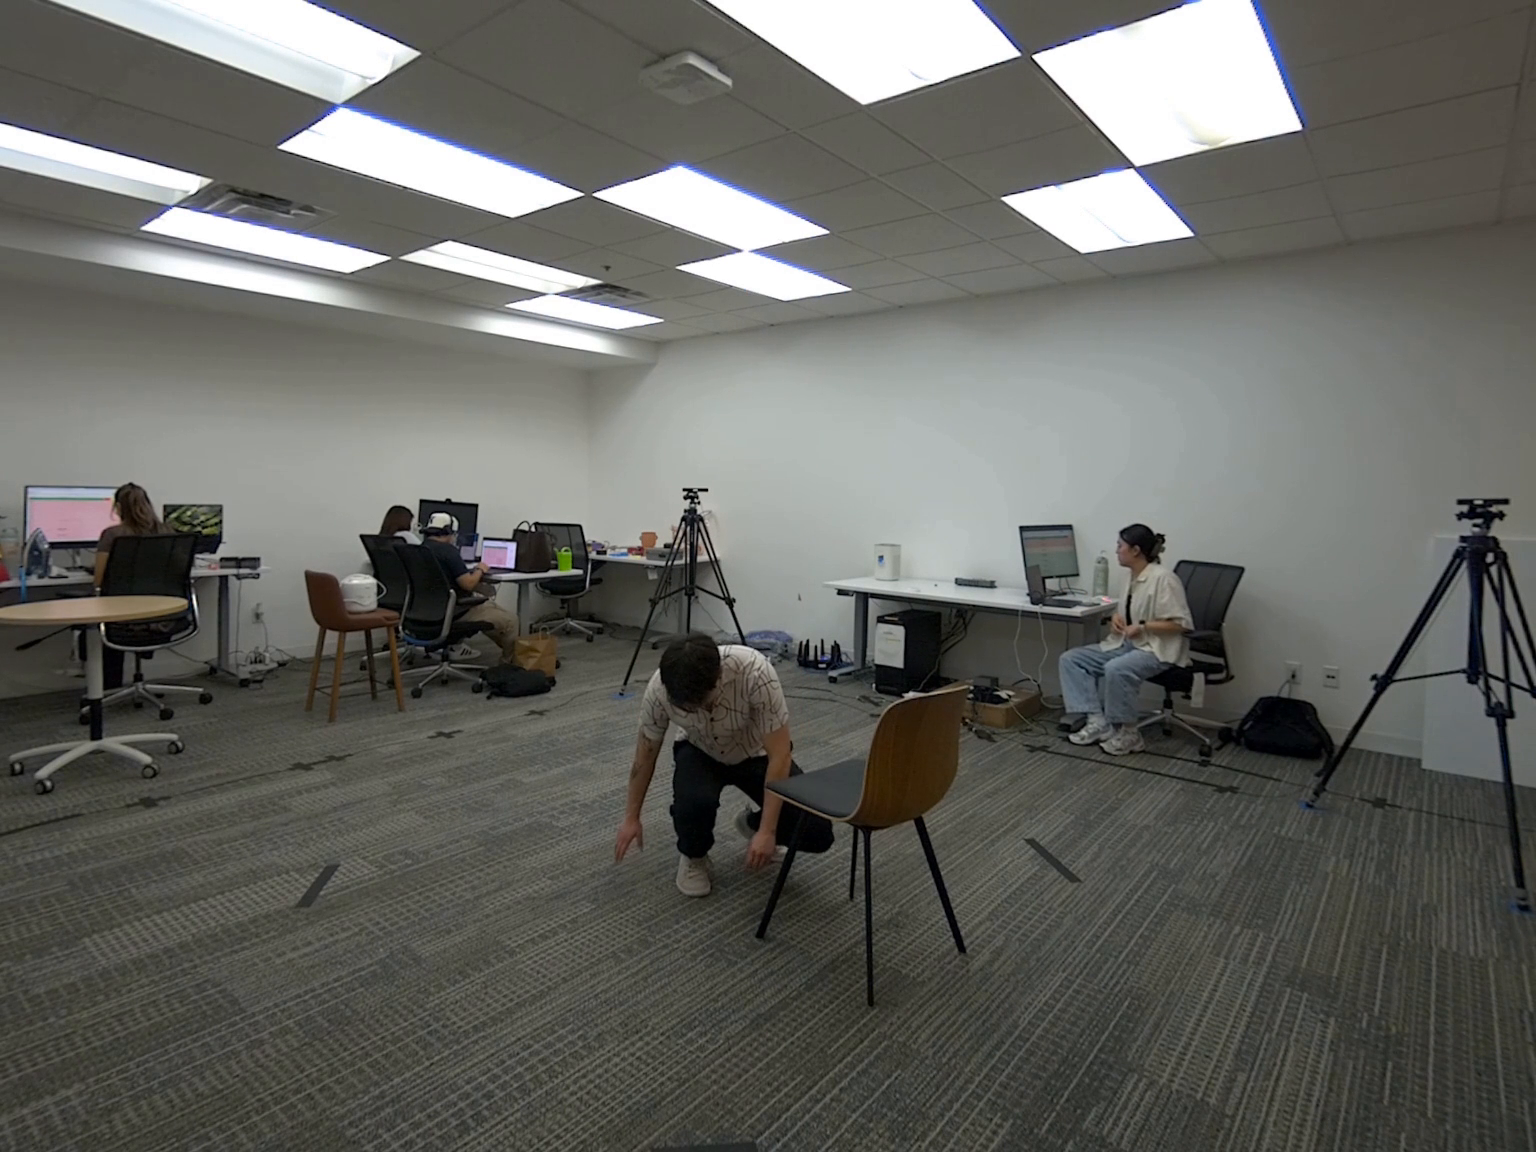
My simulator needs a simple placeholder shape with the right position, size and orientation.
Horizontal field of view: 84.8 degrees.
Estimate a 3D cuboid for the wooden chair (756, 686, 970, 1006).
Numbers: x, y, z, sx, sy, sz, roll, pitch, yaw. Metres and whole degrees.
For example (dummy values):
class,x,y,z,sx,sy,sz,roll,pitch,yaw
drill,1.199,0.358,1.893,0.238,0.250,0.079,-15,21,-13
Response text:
class,x,y,z,sx,sy,sz,roll,pitch,yaw
wooden chair,0.284,0.707,2.584,0.463,0.872,0.542,-2,9,-42
